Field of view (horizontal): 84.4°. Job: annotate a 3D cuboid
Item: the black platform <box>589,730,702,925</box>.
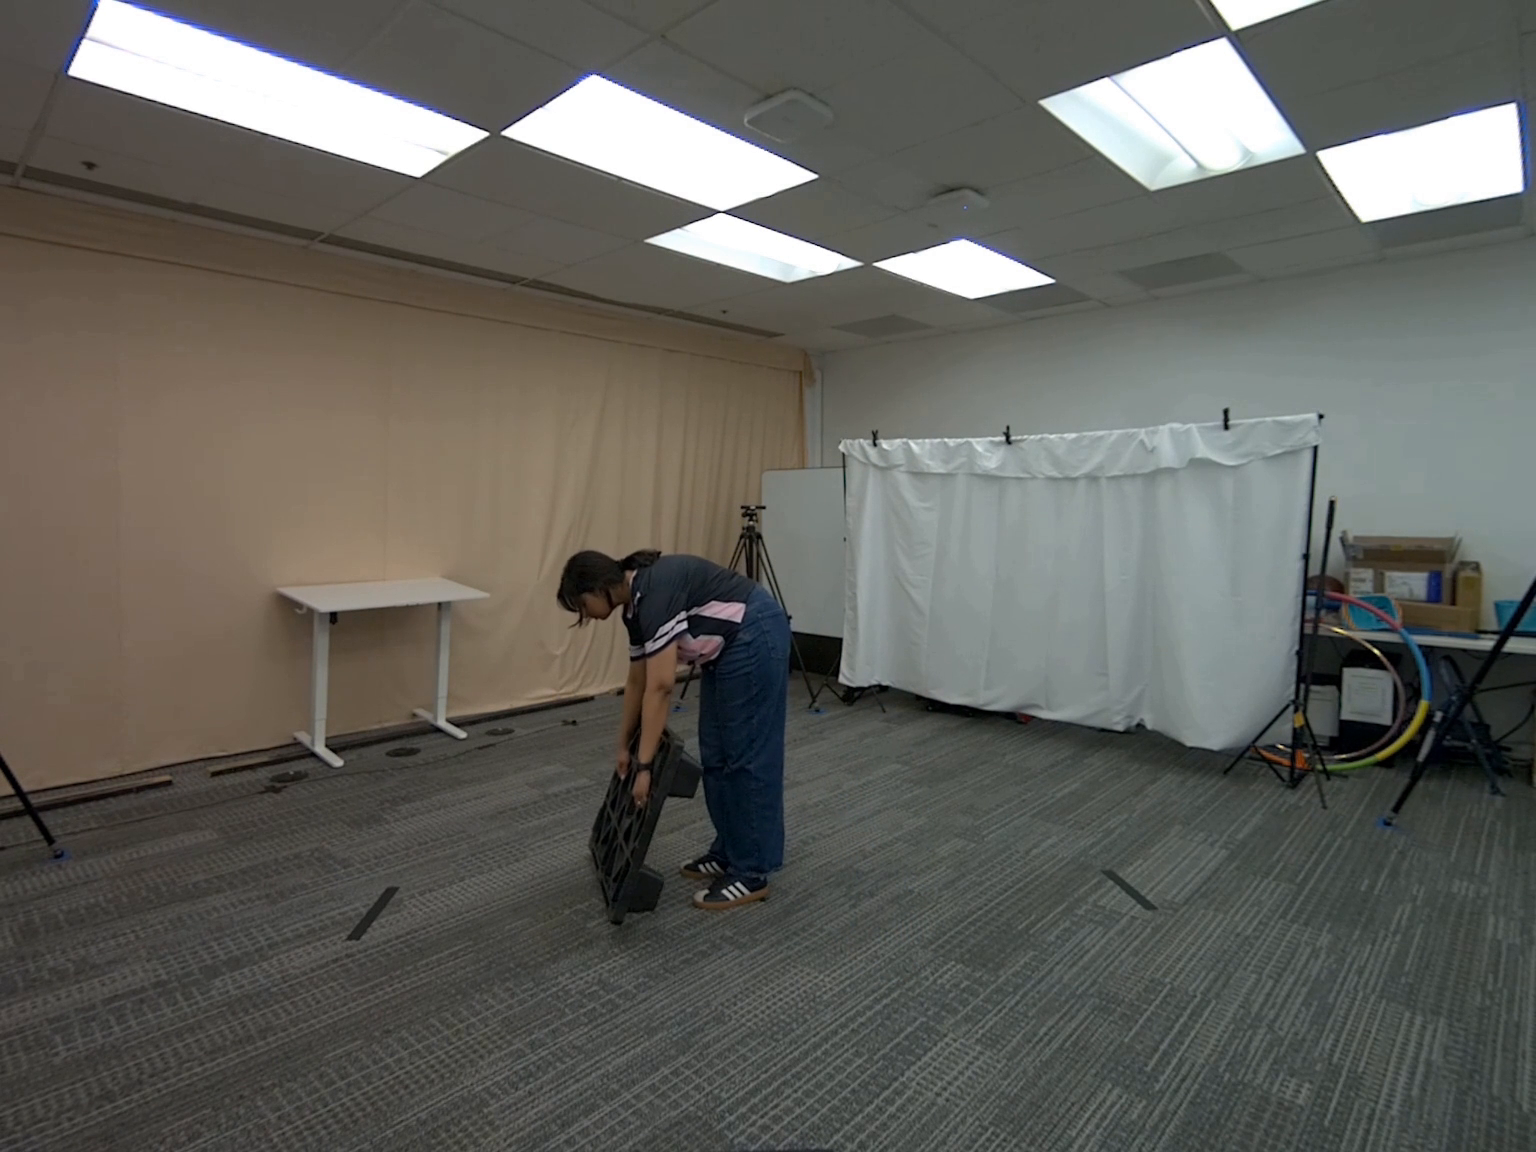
[{"bbox_3d":[-0.452,0.816,3.021,0.141,0.606,0.818,19,-5,-16],"label":"black platform"}]
